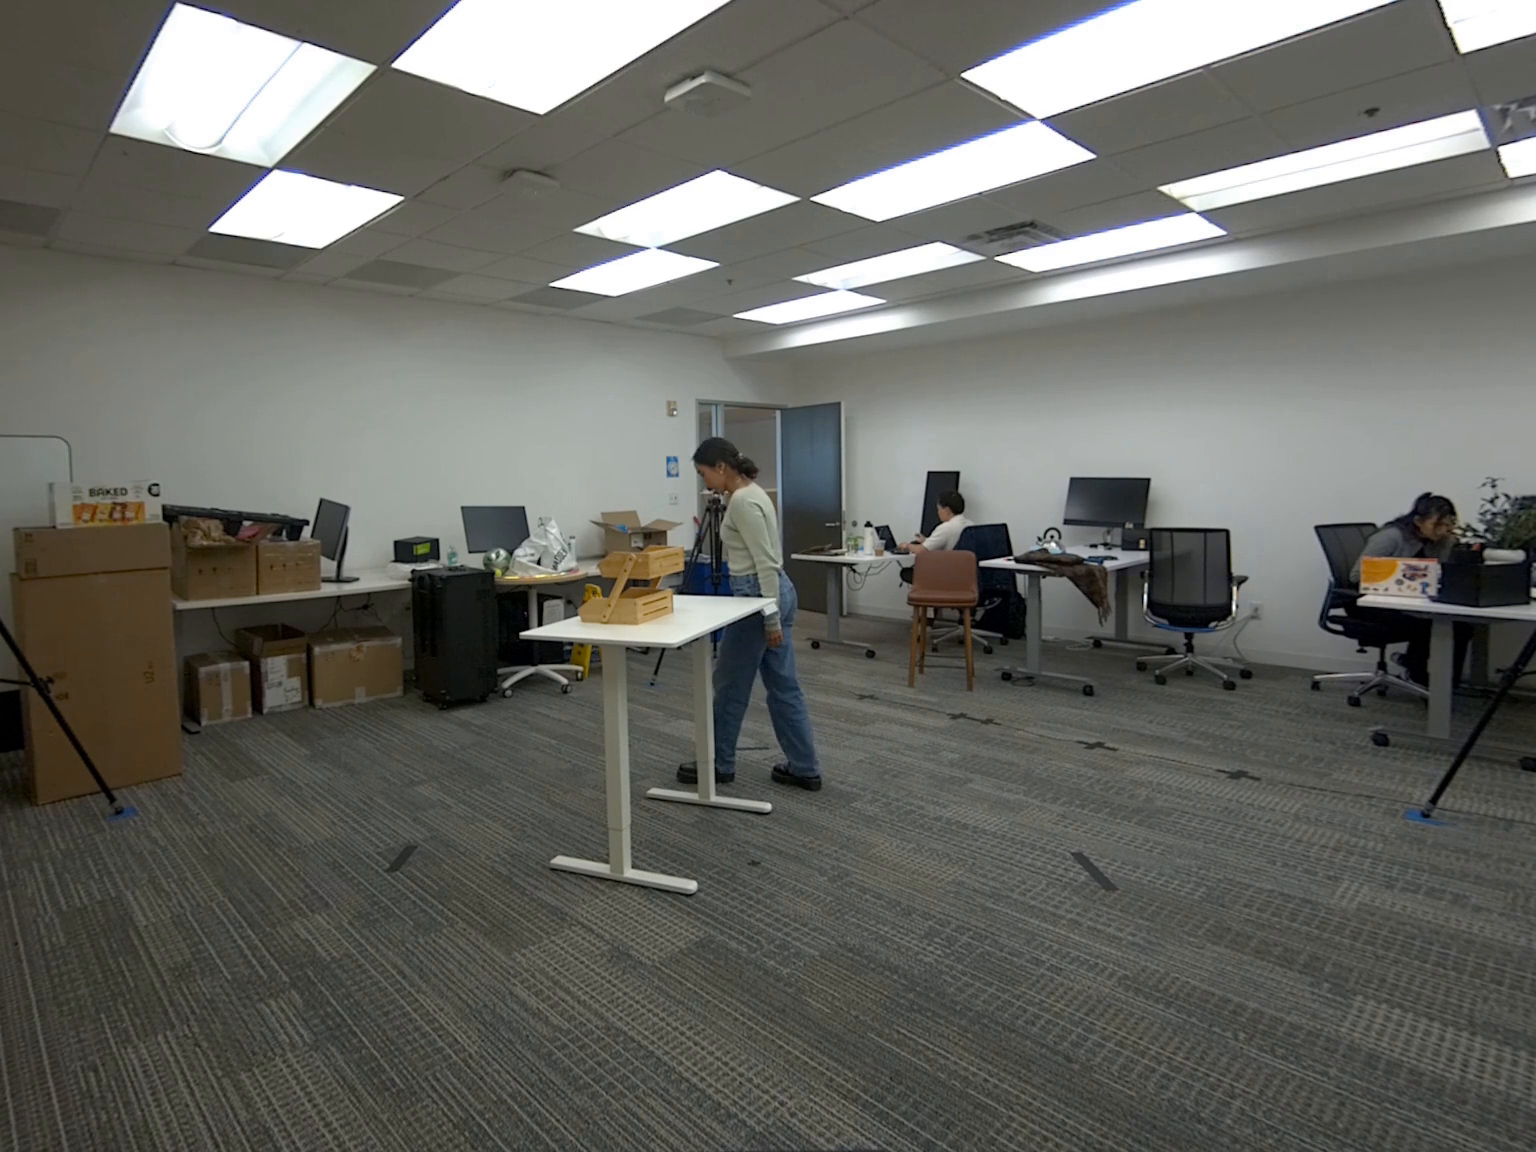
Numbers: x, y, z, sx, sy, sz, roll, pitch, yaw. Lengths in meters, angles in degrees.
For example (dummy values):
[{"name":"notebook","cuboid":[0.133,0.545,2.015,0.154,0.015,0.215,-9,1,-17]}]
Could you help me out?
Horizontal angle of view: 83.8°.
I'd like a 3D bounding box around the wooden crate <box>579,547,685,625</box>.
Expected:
[{"name":"wooden crate","cuboid":[-0.519,0.026,3.226,0.308,0.272,0.320,1,6,19]}]
